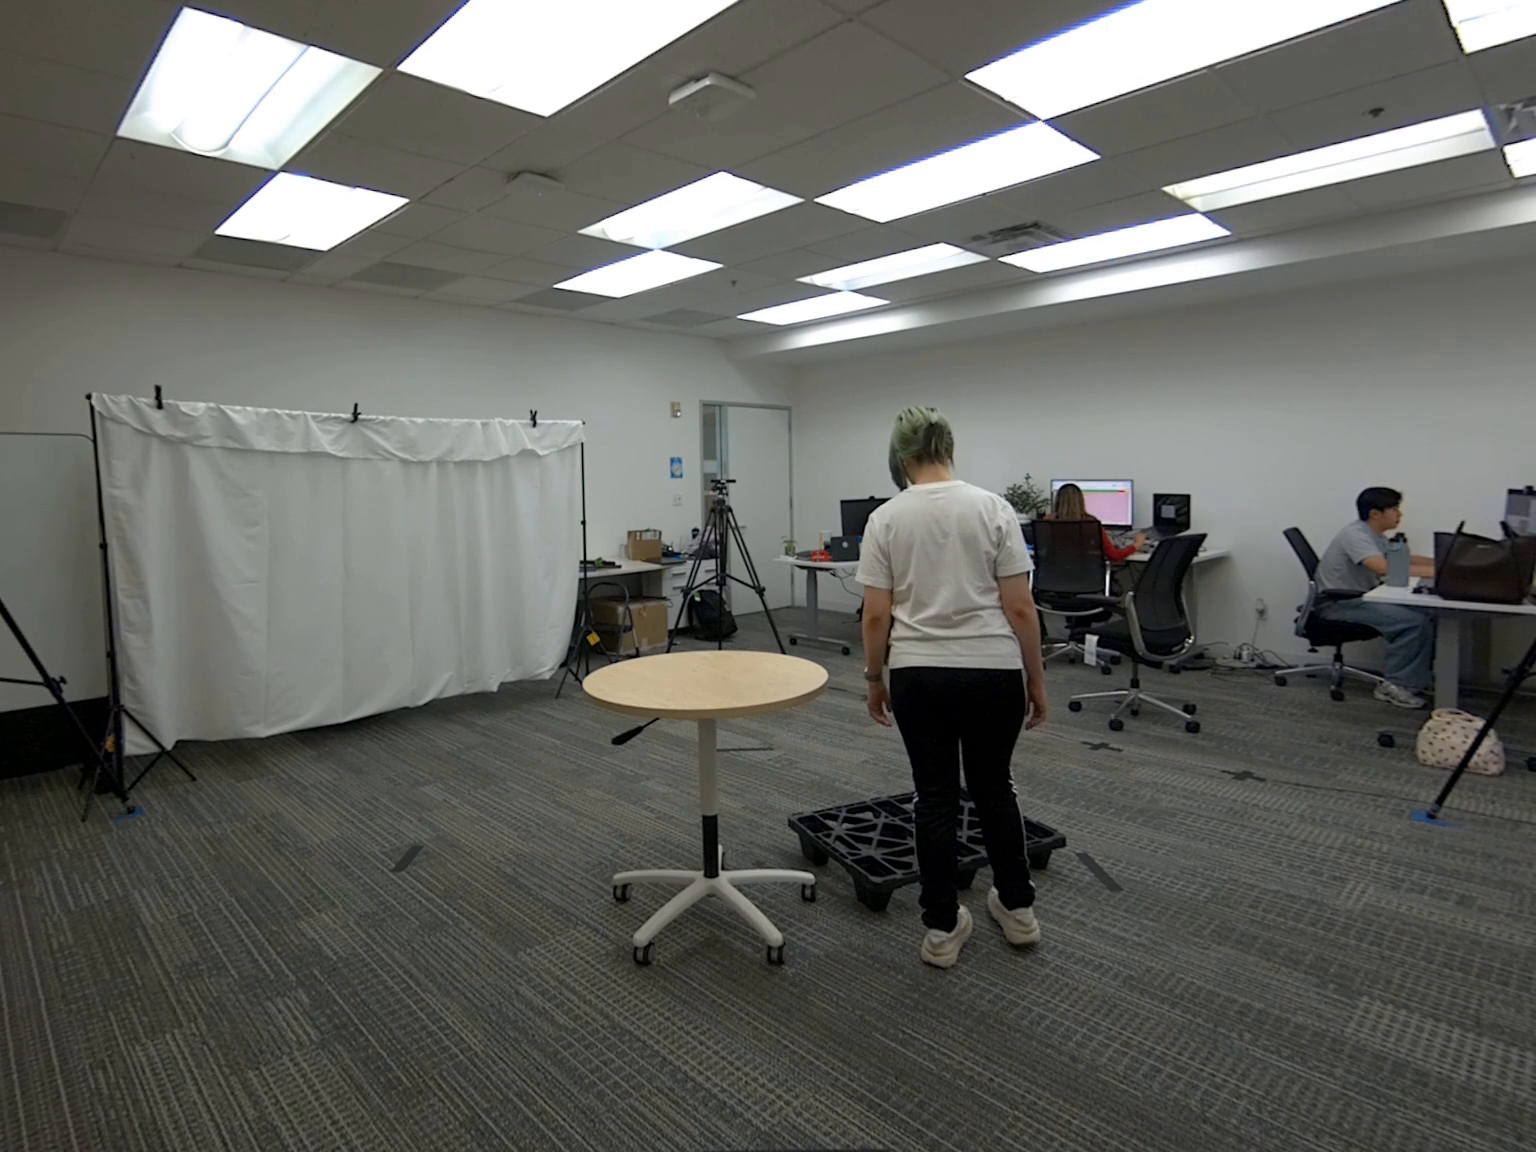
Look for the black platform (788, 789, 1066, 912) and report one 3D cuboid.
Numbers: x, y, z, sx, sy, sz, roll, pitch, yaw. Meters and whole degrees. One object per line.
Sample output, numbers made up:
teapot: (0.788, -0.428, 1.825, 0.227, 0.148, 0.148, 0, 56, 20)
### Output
black platform: (0.564, 0.968, 3.095, 0.789, 0.142, 0.621, -4, 8, -25)
